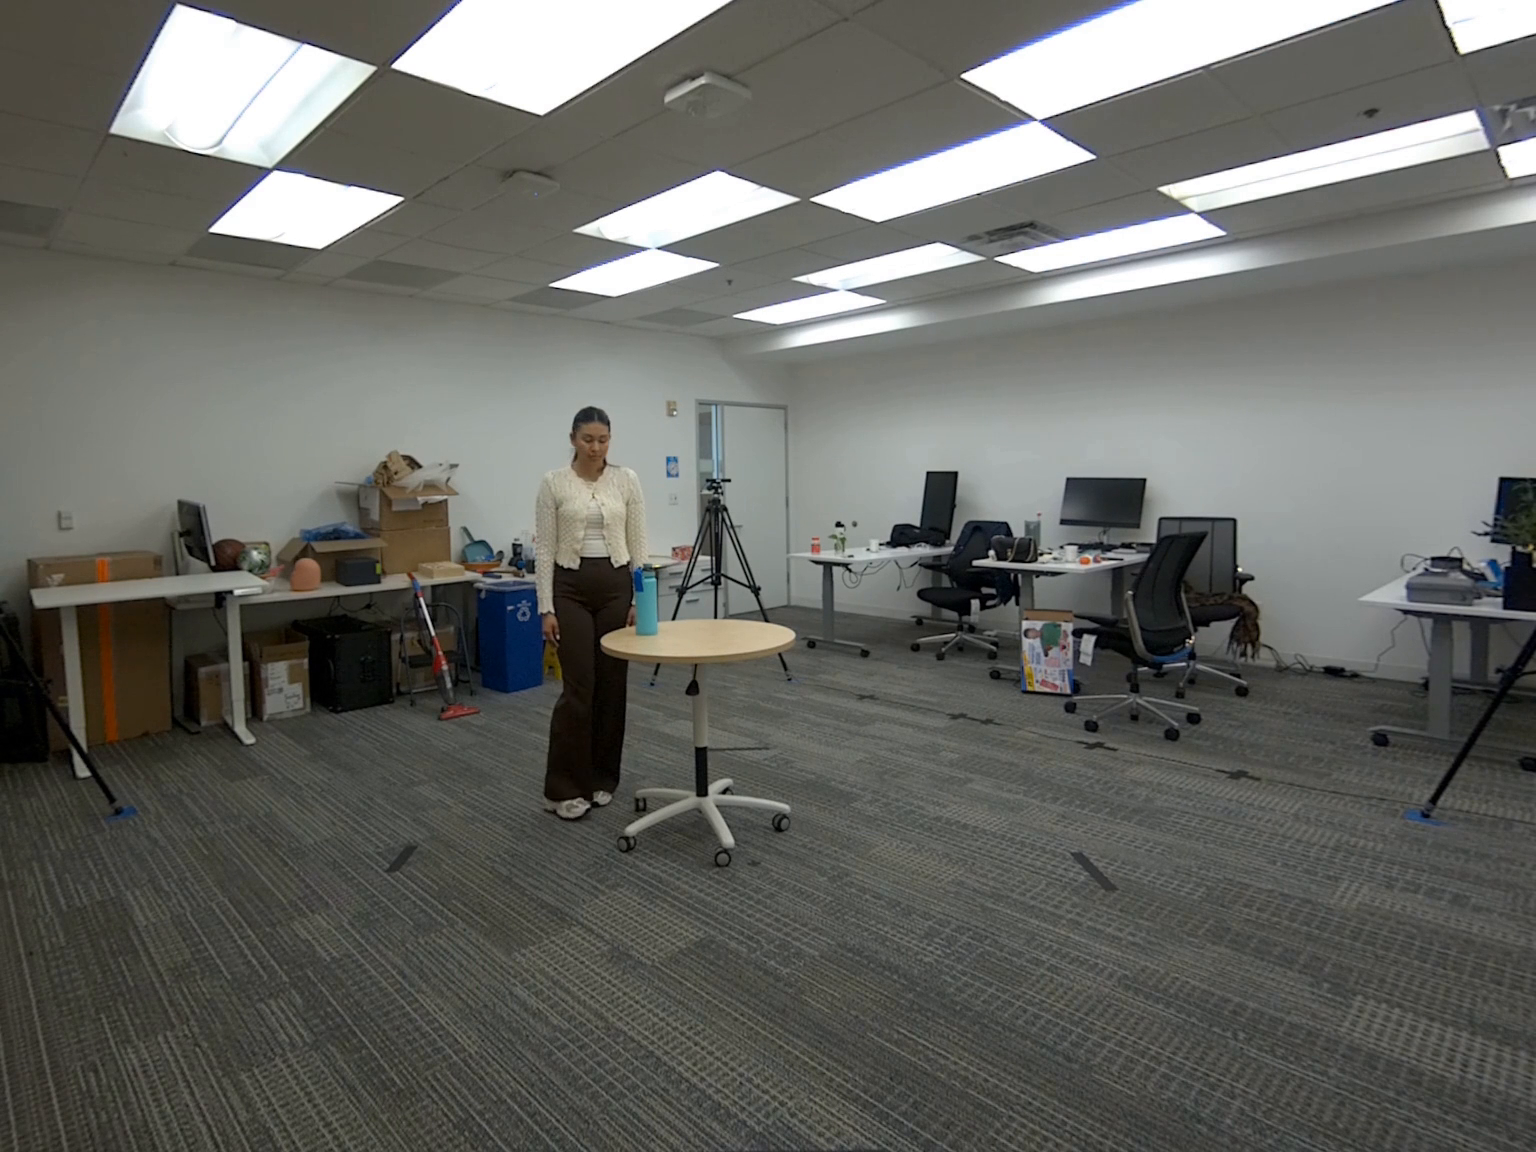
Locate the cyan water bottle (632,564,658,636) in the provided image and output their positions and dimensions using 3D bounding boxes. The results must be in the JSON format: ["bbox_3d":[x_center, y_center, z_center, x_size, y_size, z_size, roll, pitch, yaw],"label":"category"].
[{"bbox_3d":[-0.498,0.095,3.436,0.092,0.282,0.093,-2,5,-1],"label":"cyan water bottle"}]
